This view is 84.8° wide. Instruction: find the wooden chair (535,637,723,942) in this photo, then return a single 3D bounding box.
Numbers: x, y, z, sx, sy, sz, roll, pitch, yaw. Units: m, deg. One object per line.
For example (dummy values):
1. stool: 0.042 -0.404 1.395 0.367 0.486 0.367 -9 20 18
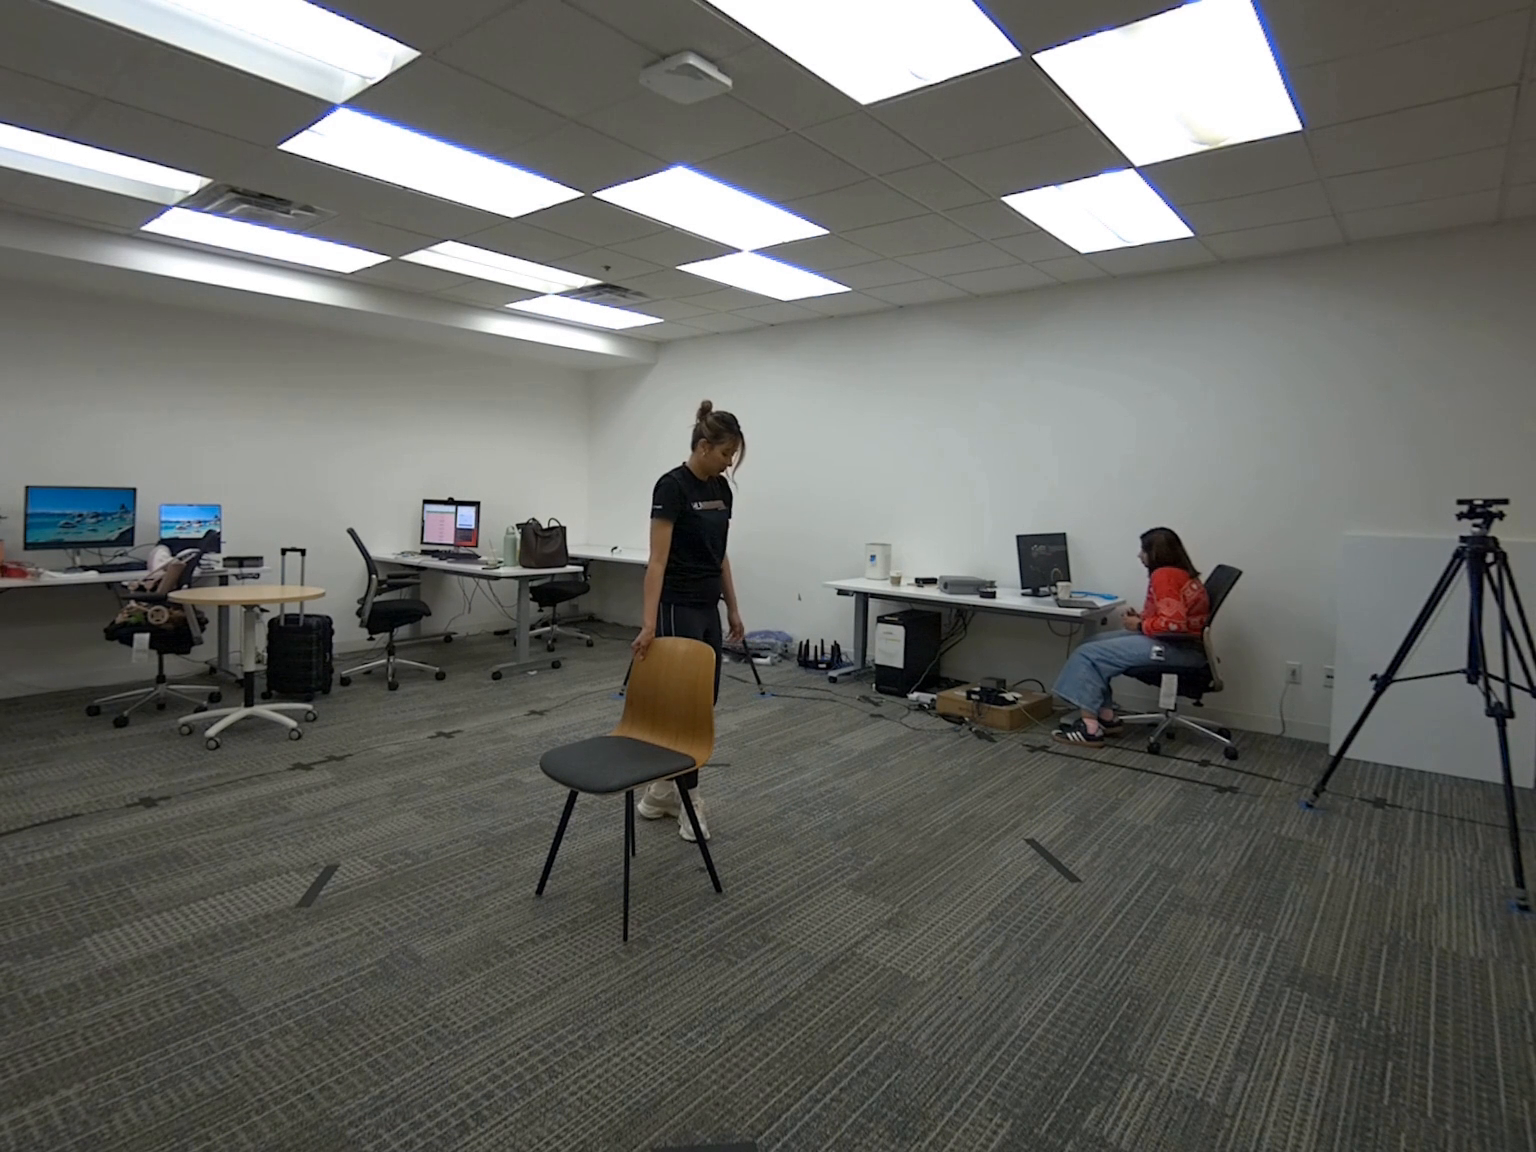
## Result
1. wooden chair: -0.477 0.661 2.876 0.494 0.878 0.506 4 0 40
